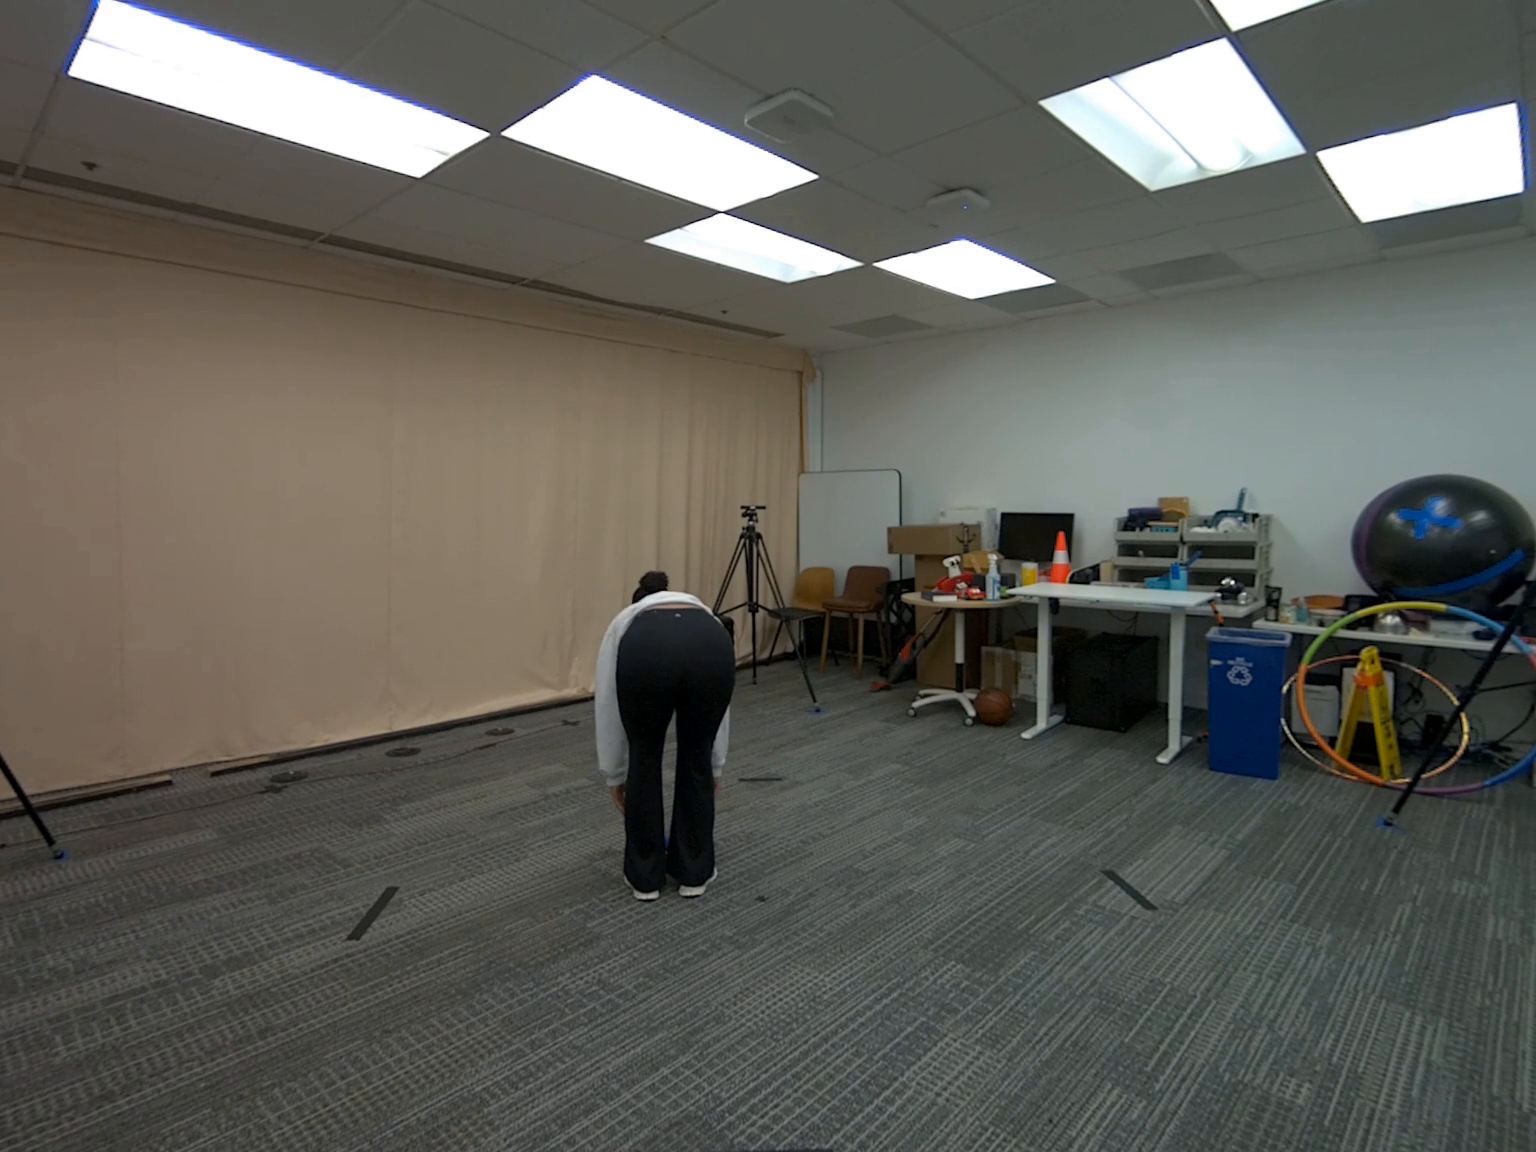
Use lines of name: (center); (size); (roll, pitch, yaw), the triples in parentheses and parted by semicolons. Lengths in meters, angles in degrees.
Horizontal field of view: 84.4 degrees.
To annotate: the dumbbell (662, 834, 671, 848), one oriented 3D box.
dumbbell: (-0.415, 1.063, 3.334); (0.289, 0.121, 0.112); (-2, 34, -14)
